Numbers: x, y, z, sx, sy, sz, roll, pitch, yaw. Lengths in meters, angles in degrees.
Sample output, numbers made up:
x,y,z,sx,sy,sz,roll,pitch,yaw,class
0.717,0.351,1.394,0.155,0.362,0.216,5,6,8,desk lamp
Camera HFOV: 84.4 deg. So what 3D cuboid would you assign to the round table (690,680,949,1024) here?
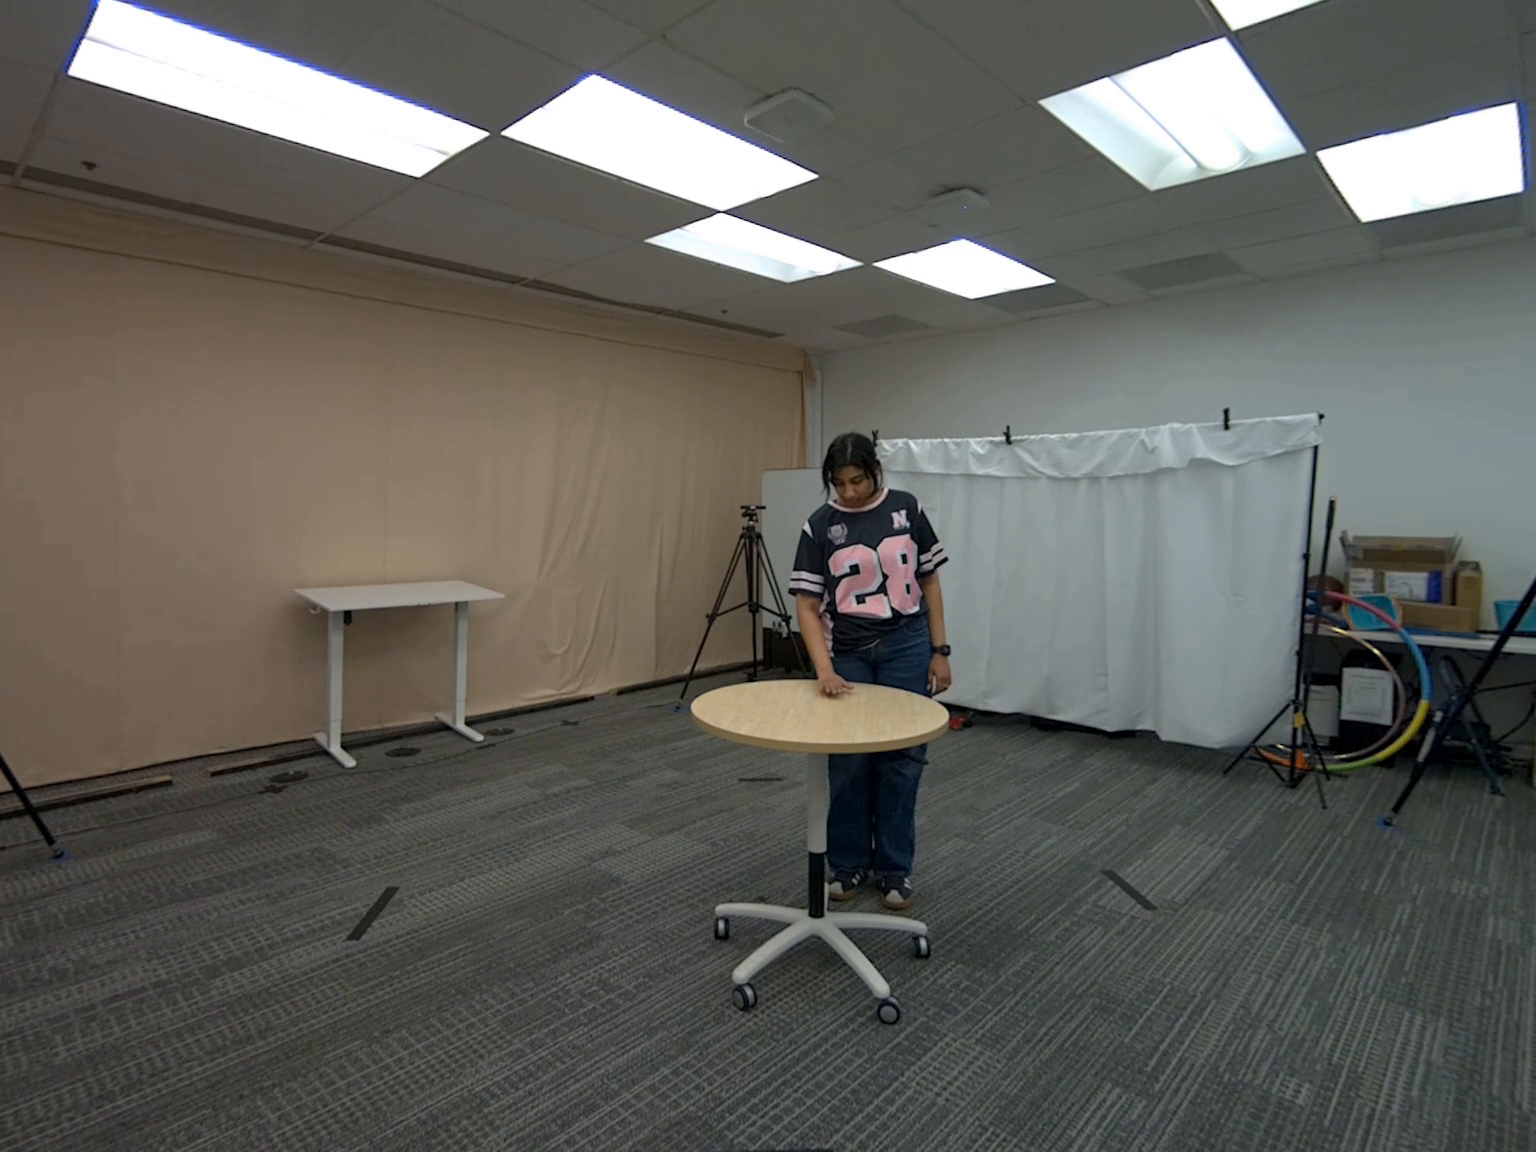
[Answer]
x,y,z,sx,sy,sz,roll,pitch,yaw,class
0.162,0.788,2.552,0.784,0.785,0.788,0,4,-2,round table
